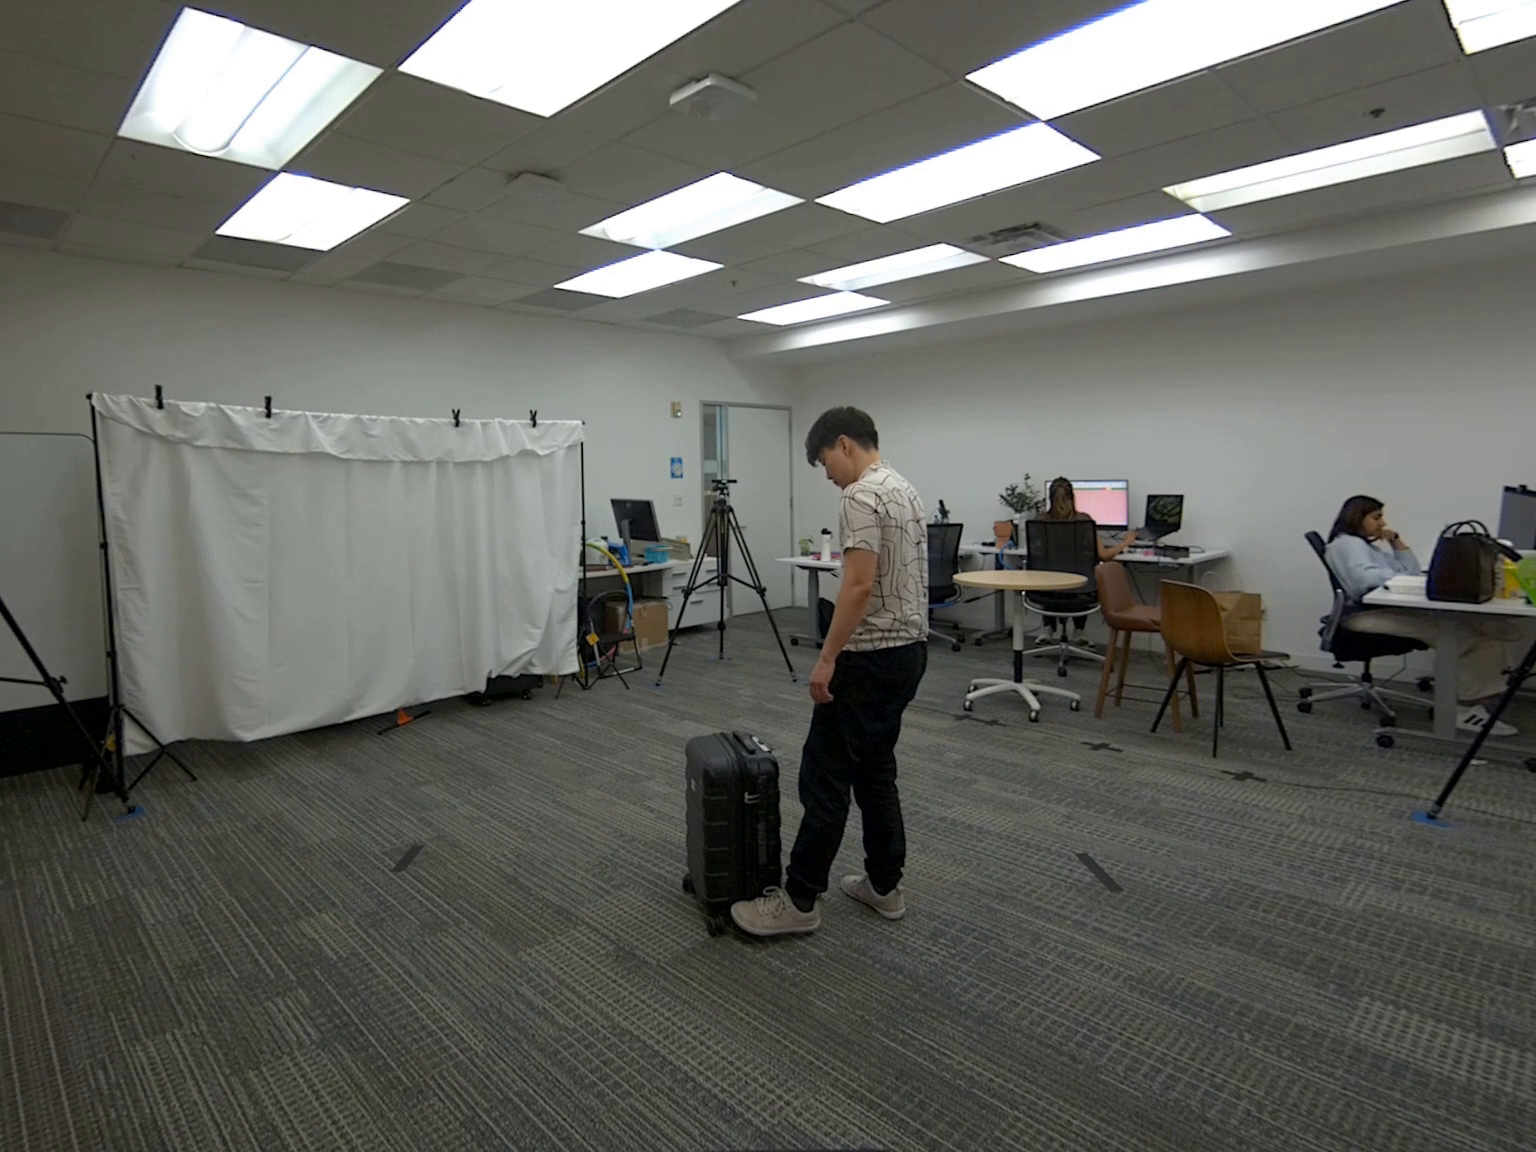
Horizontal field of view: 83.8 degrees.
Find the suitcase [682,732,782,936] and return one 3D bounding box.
[{"bbox_3d":[-0.113,0.804,2.797,0.245,0.547,0.383,-2,6,-17],"label":"suitcase"}]
